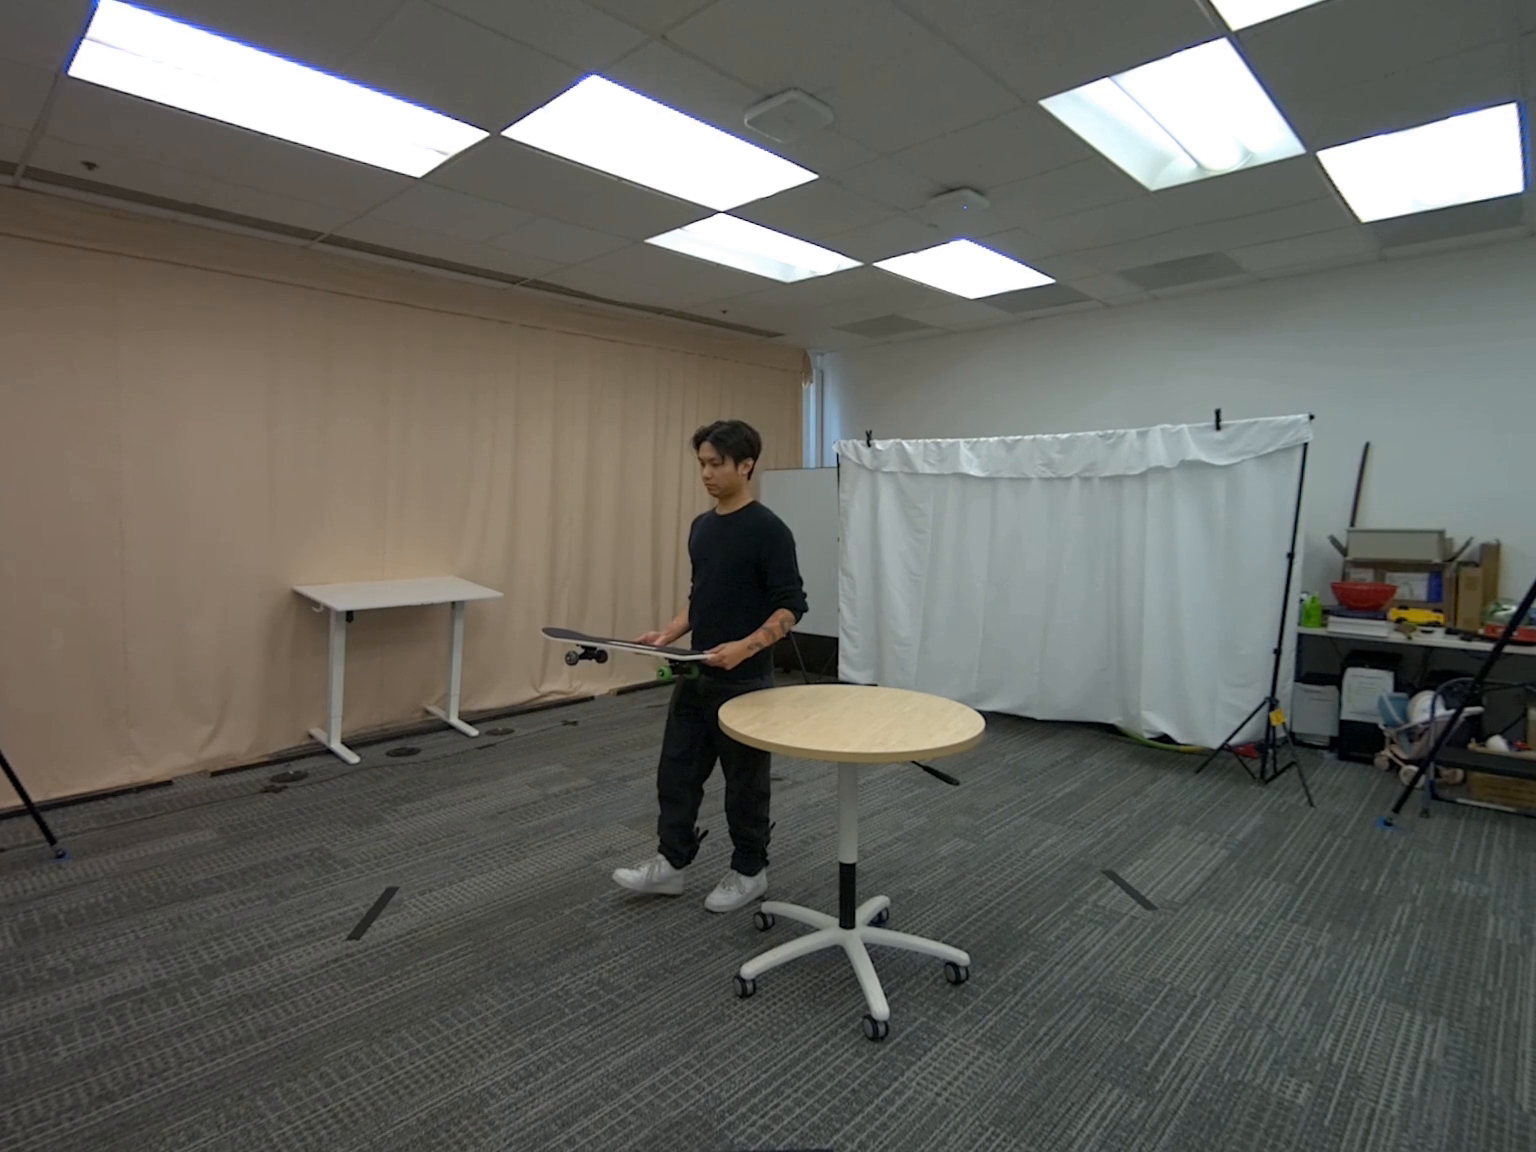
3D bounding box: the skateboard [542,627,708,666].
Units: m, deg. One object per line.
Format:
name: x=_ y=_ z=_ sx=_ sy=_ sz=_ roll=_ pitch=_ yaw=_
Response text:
skateboard: x=-0.476 y=0.279 z=2.836 sx=0.809 sy=0.110 sz=0.187 roll=5 pitch=0 yaw=31
